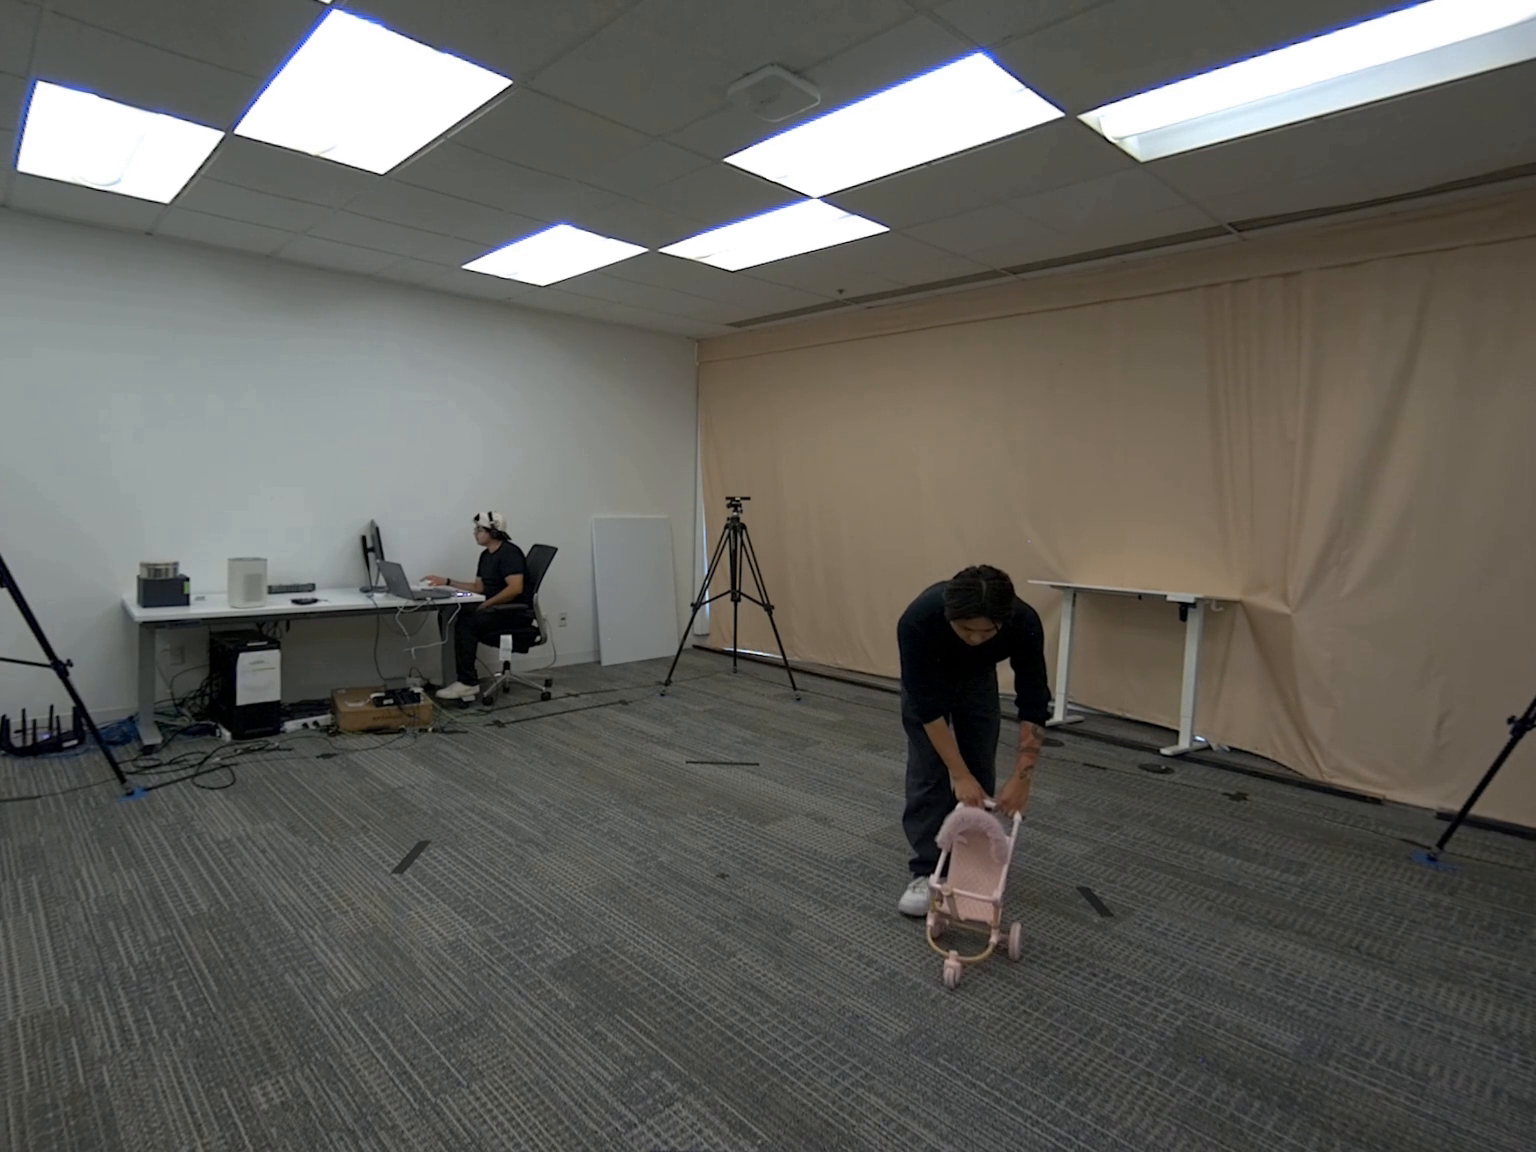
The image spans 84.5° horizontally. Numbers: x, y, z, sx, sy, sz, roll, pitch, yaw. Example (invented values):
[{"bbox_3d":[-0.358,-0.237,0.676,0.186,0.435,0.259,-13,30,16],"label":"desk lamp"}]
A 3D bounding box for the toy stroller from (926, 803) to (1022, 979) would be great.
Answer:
[{"bbox_3d":[0.613,0.955,2.575,0.288,0.538,0.331,3,-13,33],"label":"toy stroller"}]
